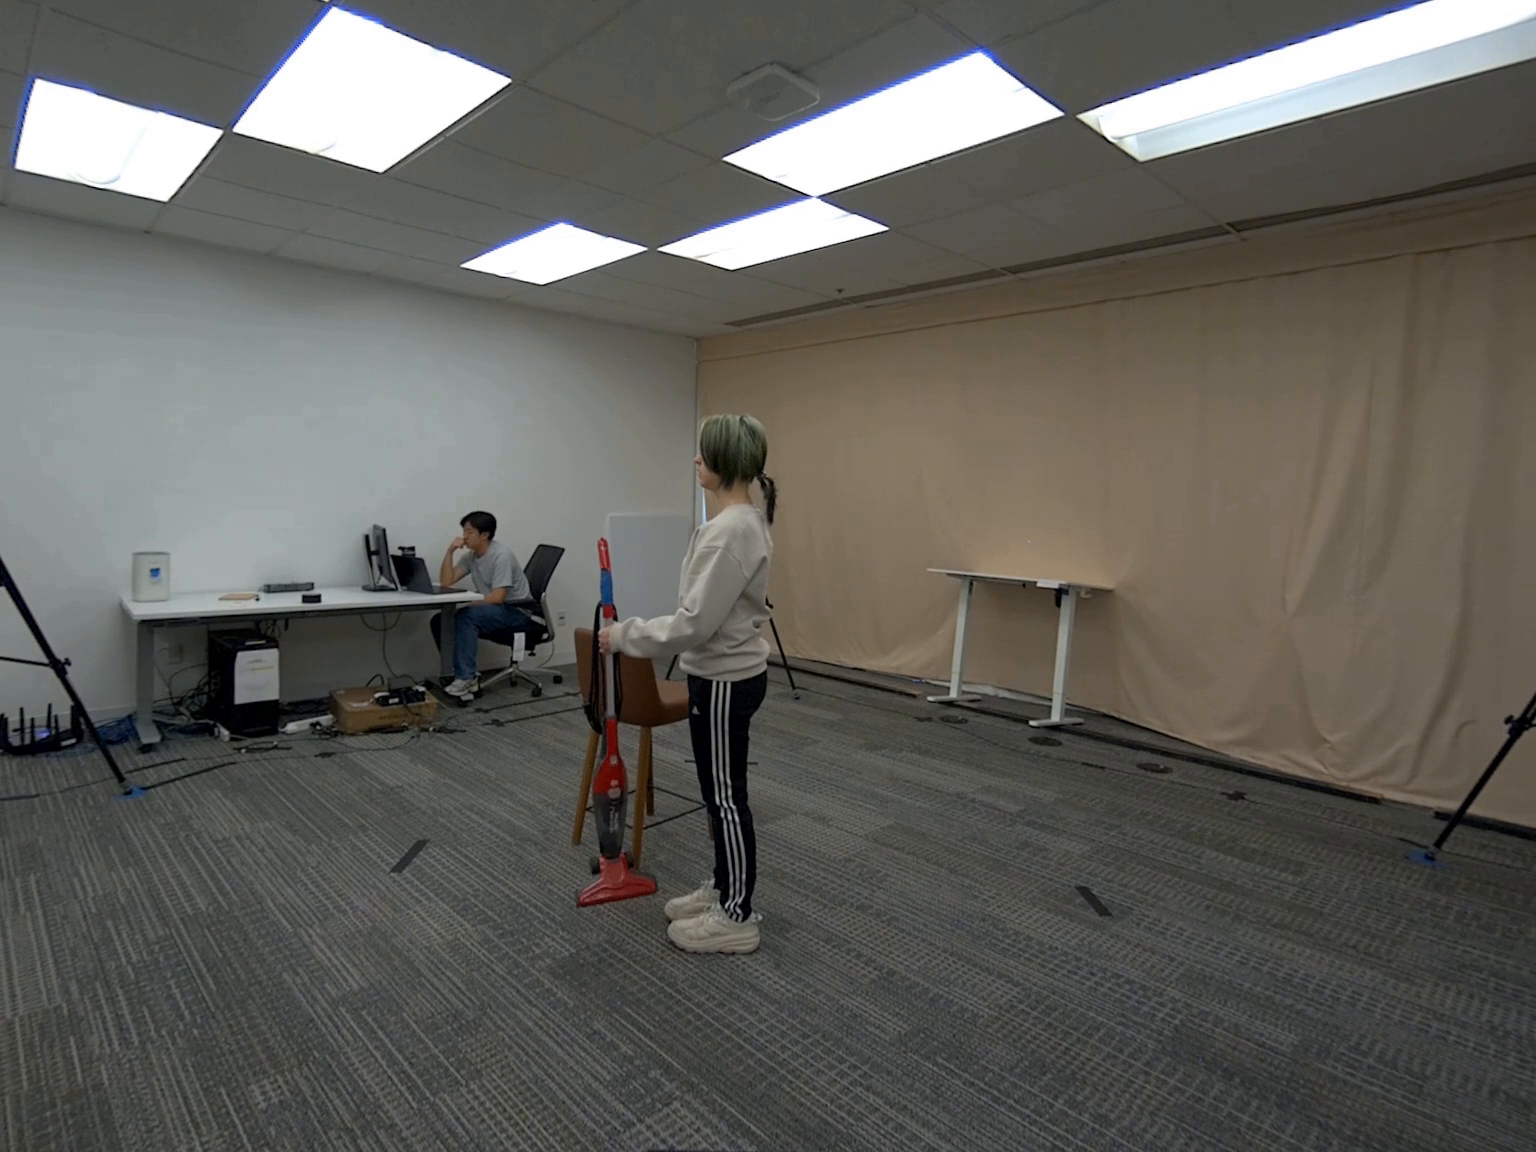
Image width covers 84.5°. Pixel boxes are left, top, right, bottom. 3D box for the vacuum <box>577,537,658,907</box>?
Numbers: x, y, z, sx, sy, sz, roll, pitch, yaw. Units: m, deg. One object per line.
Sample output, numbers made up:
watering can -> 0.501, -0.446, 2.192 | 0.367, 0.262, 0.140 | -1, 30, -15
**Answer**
vacuum -> -0.496, 0.422, 2.593 | 0.248, 1.049, 0.146 | -2, 0, -24
